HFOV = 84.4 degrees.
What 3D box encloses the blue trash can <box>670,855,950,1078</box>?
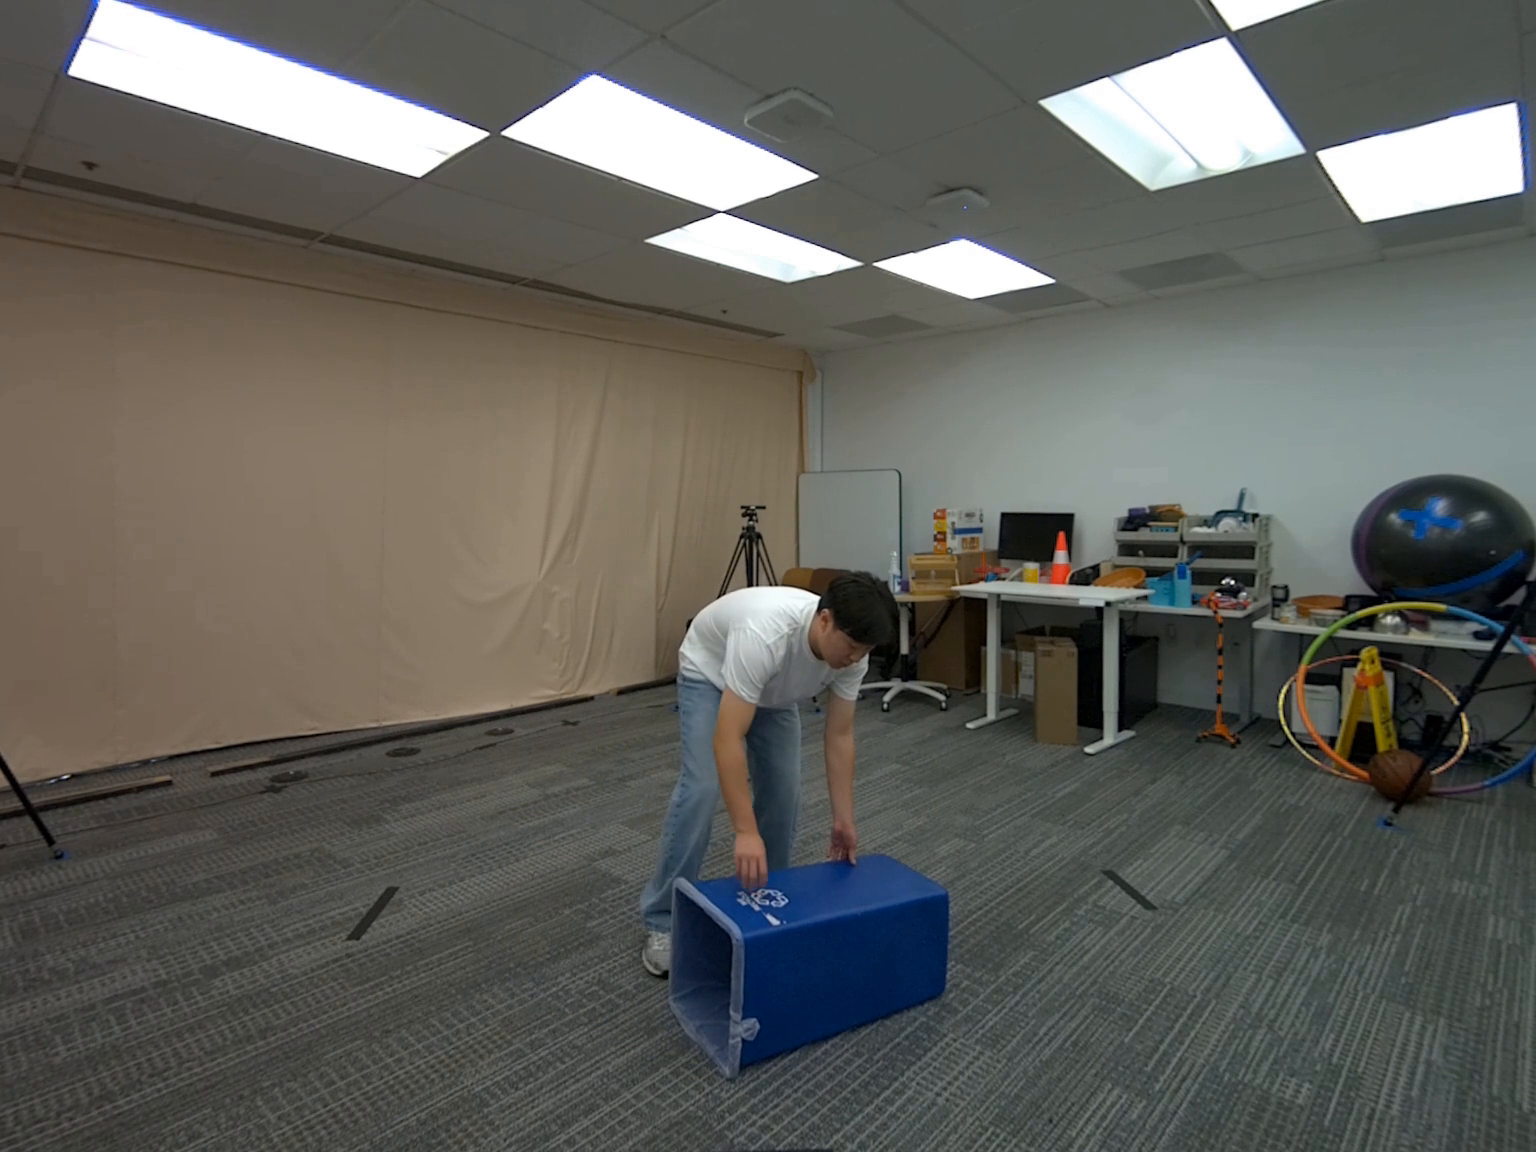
[{"bbox_3d":[0.132,1.031,2.347,0.694,0.378,0.385,1,3,-30],"label":"blue trash can"}]
